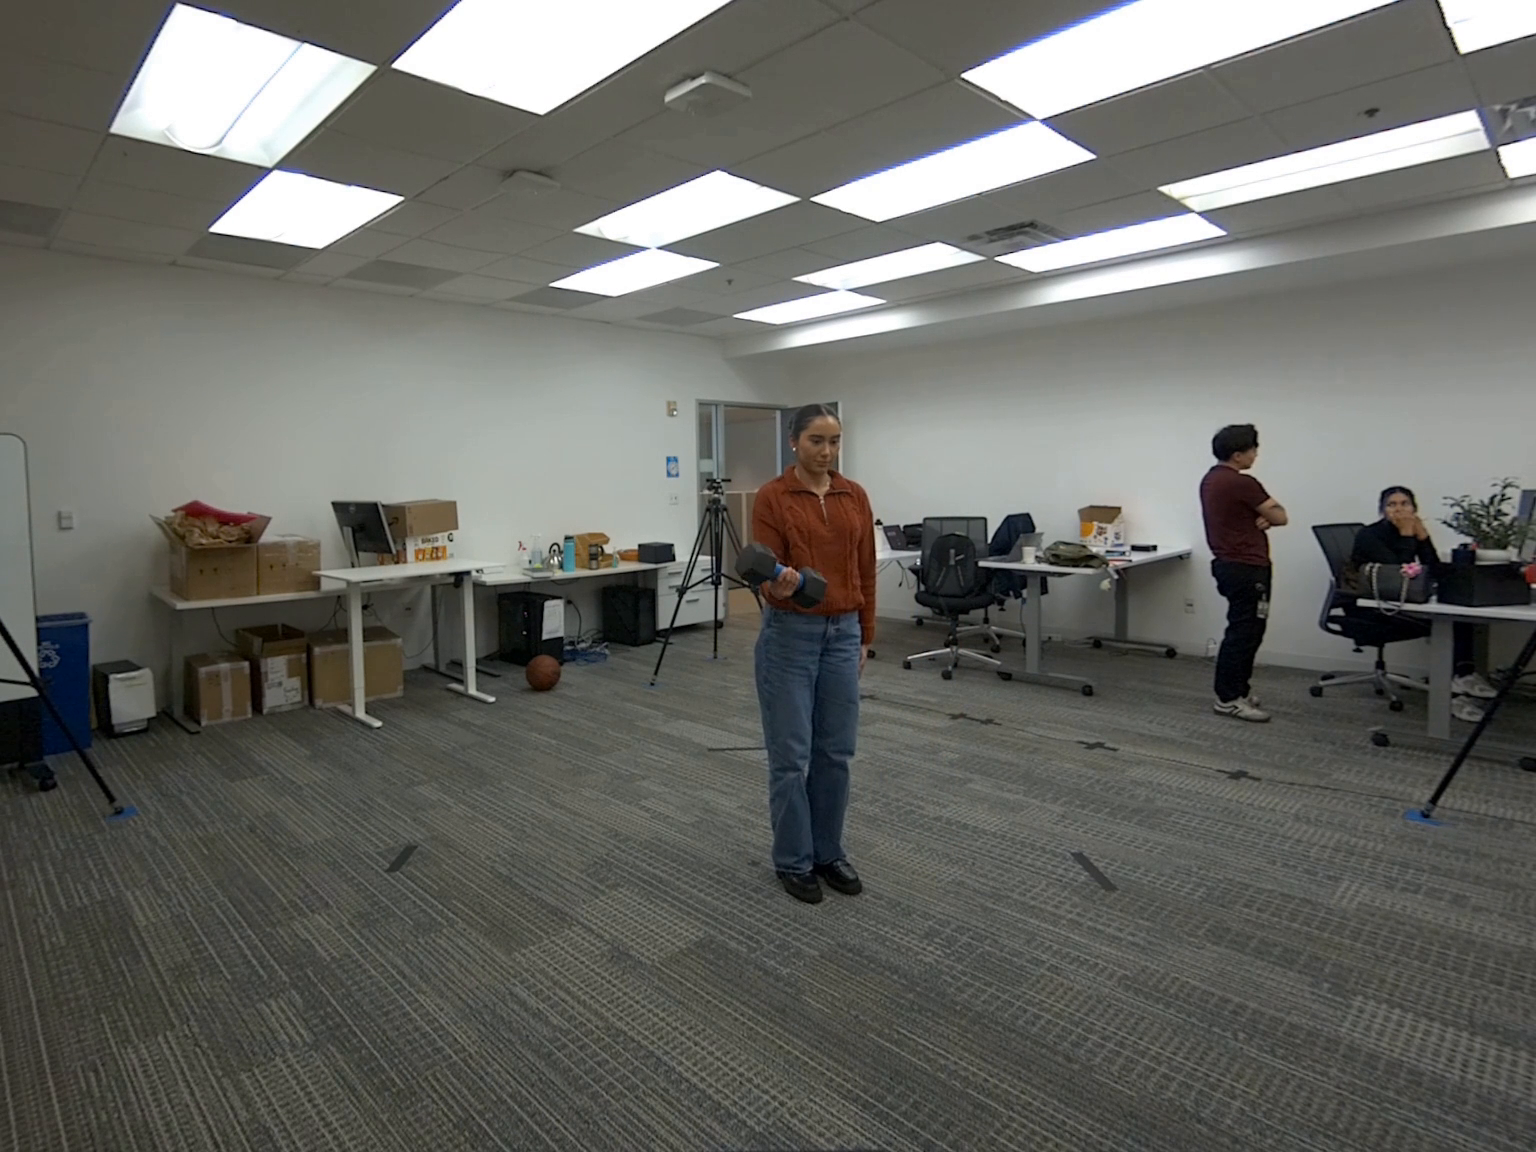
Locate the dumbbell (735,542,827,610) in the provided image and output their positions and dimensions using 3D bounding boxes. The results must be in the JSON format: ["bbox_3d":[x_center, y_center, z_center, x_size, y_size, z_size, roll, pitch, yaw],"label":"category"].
[{"bbox_3d":[0.044,0.004,2.582,0.284,0.111,0.124,25,-42,-33],"label":"dumbbell"}]
